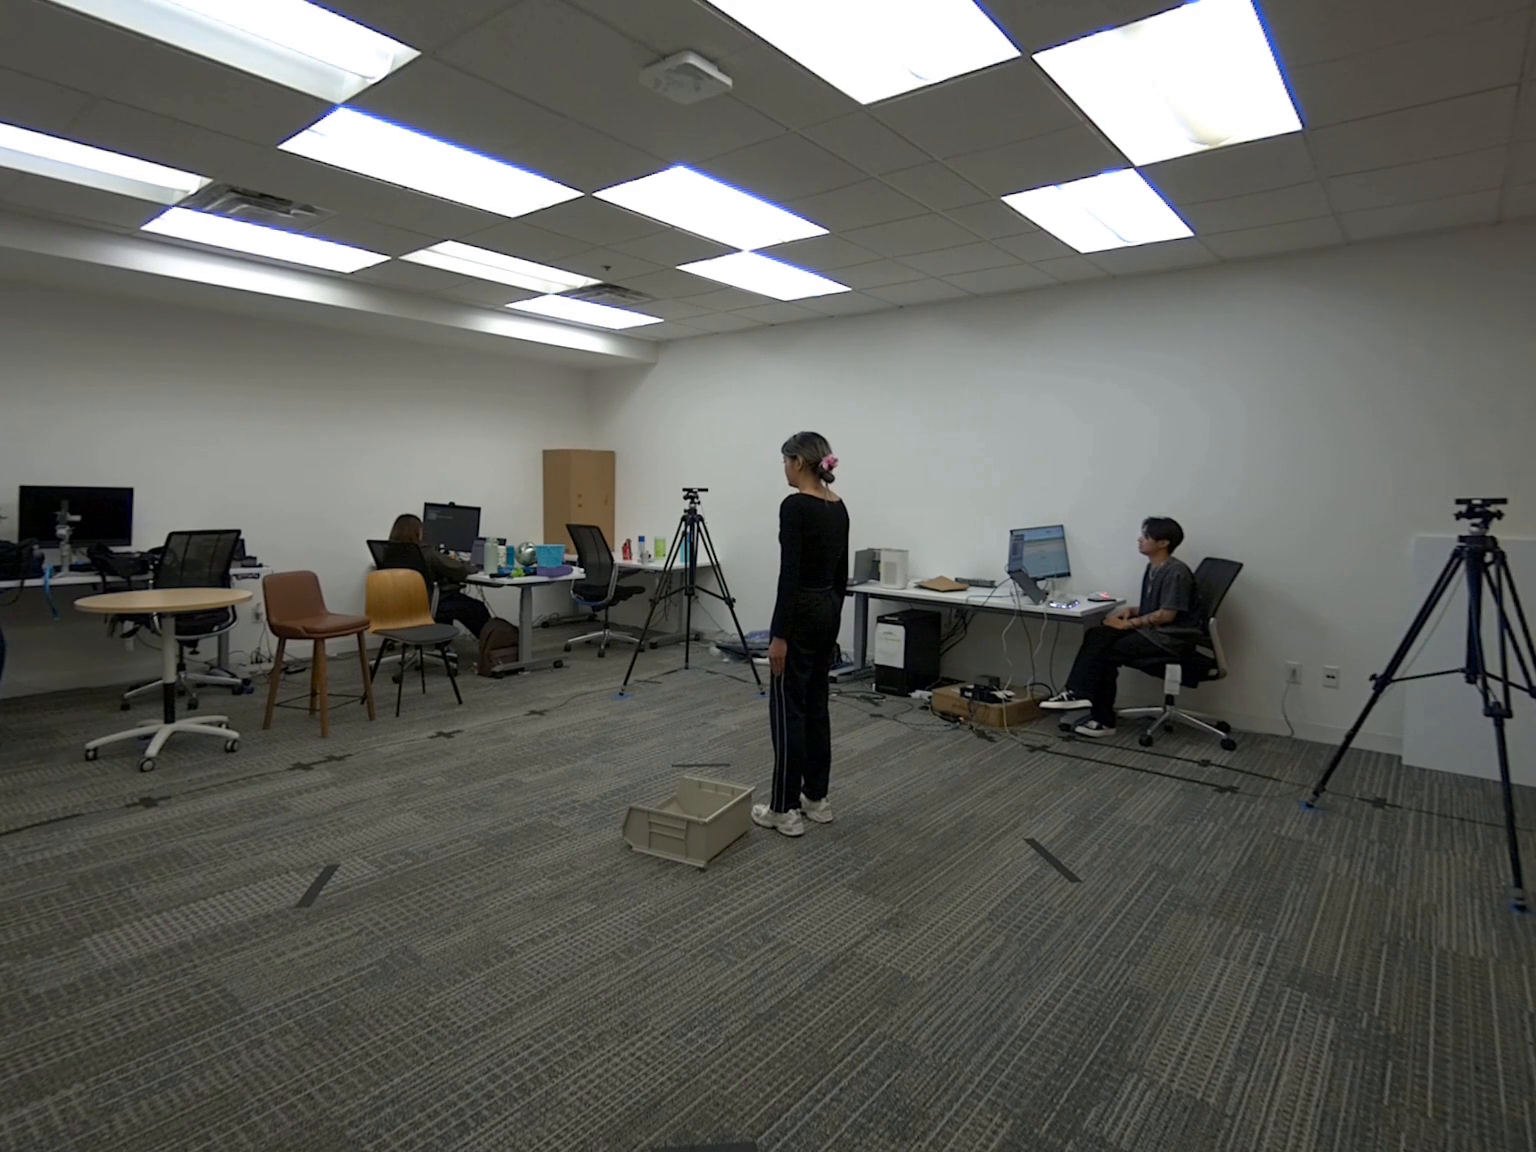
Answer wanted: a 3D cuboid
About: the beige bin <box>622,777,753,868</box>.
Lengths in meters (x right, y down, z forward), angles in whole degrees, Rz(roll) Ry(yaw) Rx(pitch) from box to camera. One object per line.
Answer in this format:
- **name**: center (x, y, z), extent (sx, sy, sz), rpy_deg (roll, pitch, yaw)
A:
- **beige bin**: center (-0.319, 0.956, 3.375), extent (0.388, 0.188, 0.412), rpy_deg (4, 5, 26)
